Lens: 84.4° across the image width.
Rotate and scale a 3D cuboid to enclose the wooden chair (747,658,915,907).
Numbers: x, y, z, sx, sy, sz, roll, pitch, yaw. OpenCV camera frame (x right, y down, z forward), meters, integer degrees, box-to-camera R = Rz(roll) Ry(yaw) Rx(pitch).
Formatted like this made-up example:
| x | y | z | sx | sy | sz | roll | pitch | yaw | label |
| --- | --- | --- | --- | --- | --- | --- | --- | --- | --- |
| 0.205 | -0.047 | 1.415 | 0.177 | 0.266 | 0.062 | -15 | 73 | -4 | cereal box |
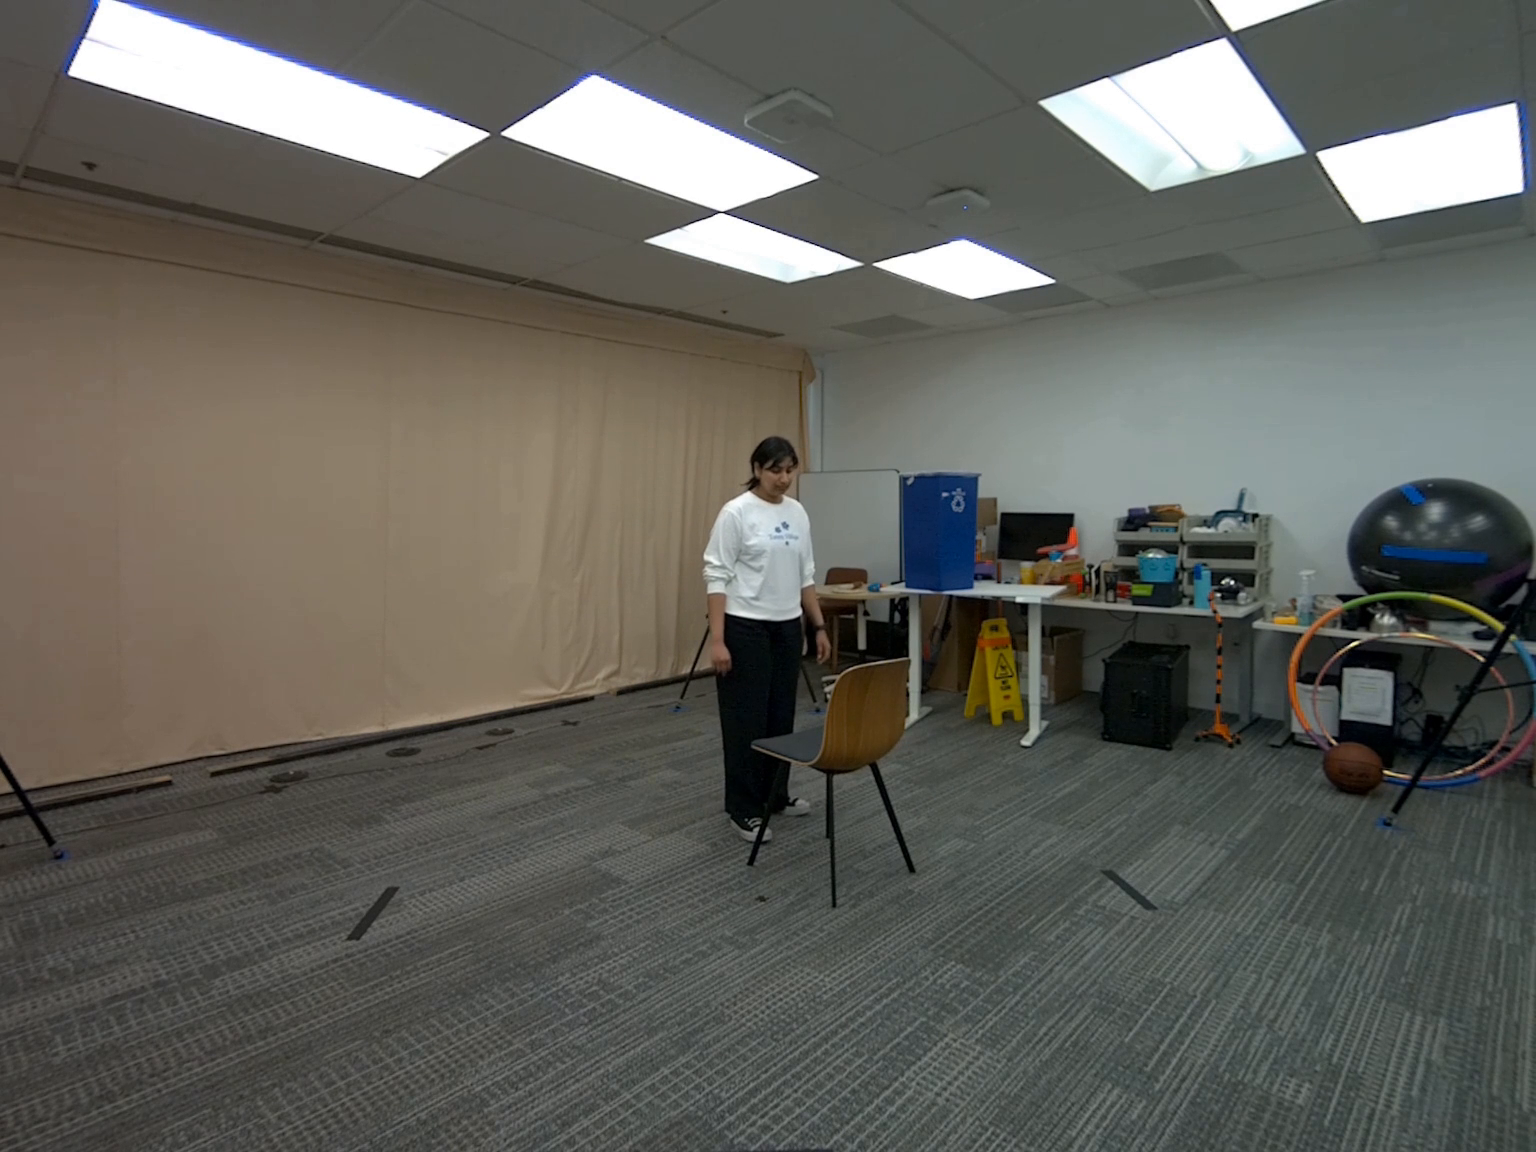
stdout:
| x | y | z | sx | sy | sz | roll | pitch | yaw | label |
| --- | --- | --- | --- | --- | --- | --- | --- | --- | --- |
| 0.242 | 0.695 | 3.203 | 0.463 | 0.874 | 0.541 | -3 | 9 | -42 | wooden chair |
